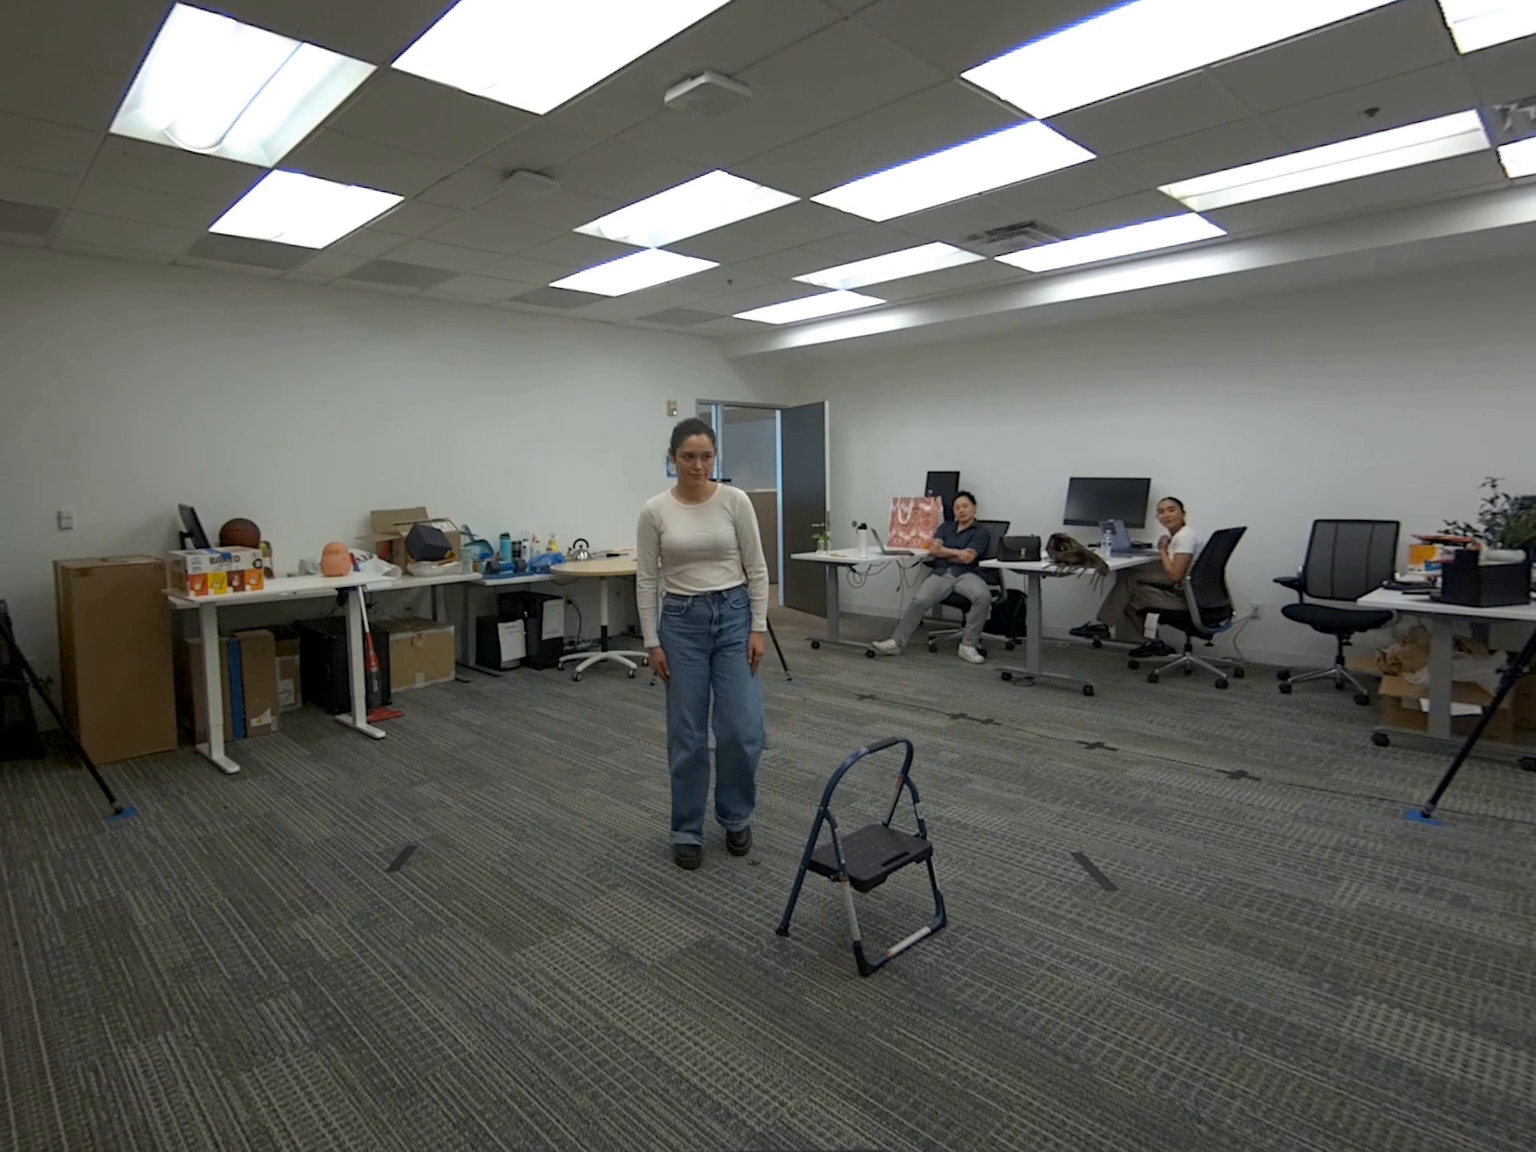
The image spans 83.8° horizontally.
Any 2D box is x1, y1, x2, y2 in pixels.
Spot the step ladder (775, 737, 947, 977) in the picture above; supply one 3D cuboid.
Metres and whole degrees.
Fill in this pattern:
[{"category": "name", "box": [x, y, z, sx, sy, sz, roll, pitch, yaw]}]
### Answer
[{"category": "step ladder", "box": [0.291, 0.791, 2.626, 0.360, 0.604, 0.419, 3, 7, 45]}]
